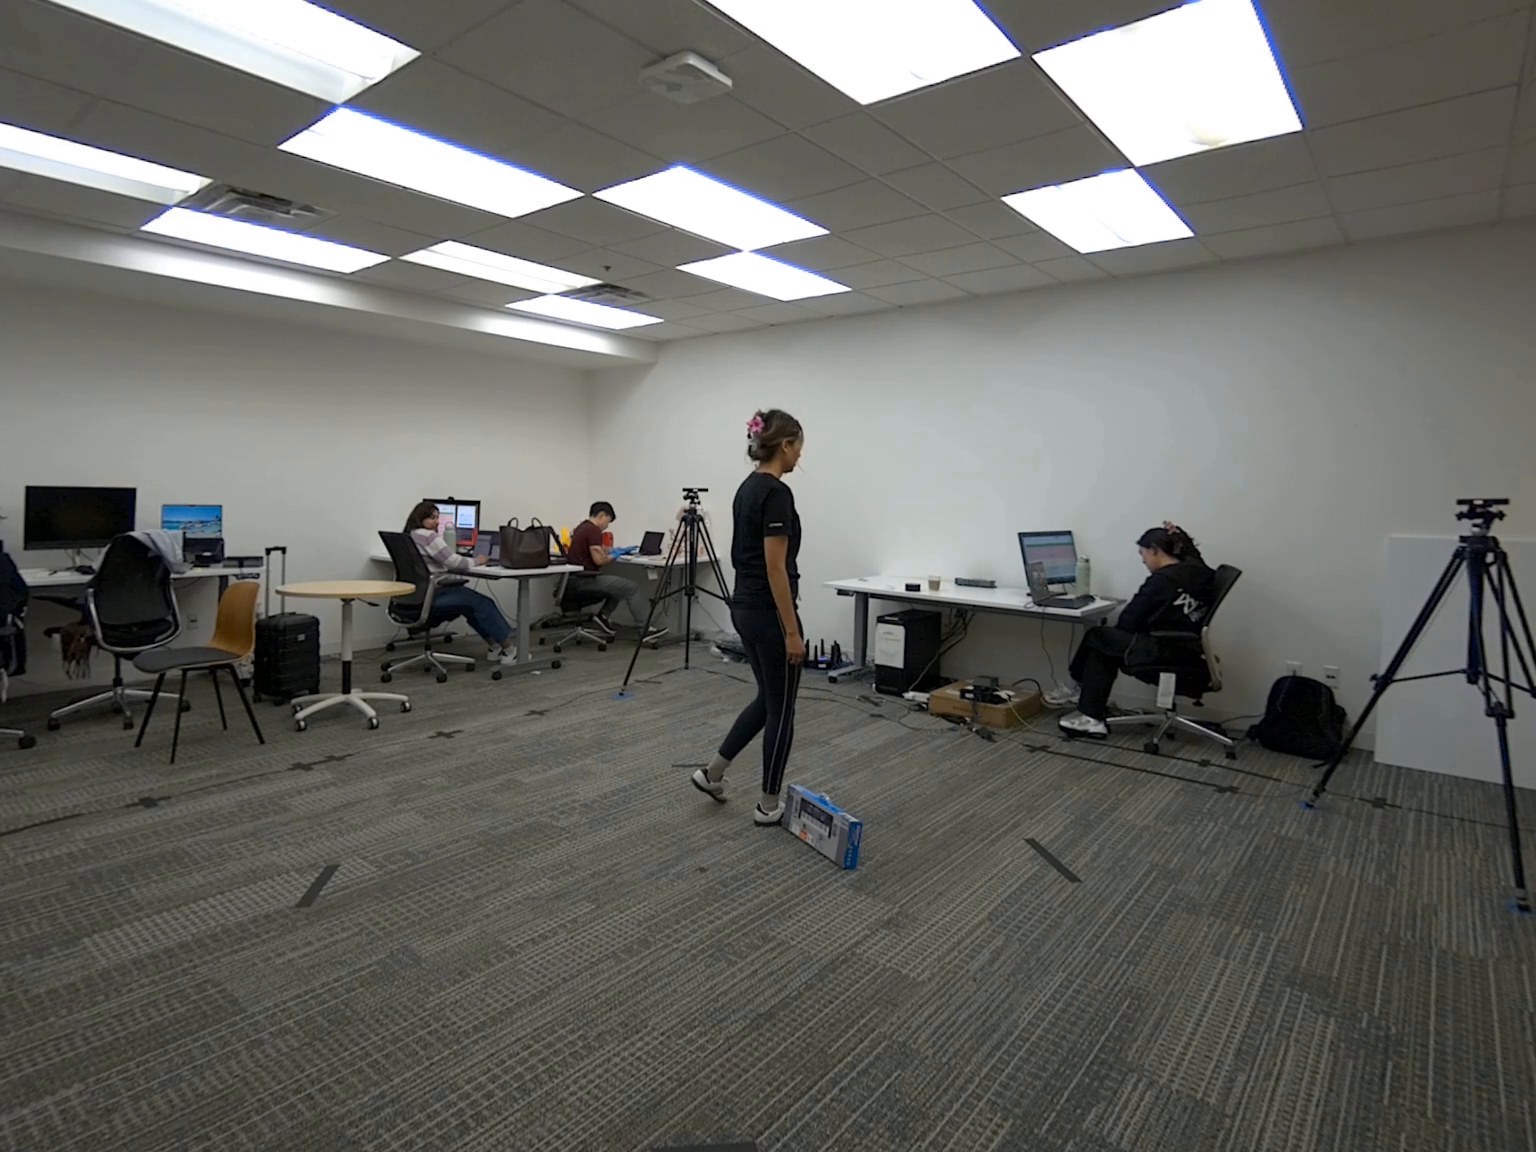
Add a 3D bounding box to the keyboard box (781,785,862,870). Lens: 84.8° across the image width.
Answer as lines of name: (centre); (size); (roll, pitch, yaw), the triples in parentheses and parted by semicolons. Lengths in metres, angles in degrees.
keyboard box: (0.197, 0.969, 3.333); (0.057, 0.176, 0.450); (10, 0, -30)
